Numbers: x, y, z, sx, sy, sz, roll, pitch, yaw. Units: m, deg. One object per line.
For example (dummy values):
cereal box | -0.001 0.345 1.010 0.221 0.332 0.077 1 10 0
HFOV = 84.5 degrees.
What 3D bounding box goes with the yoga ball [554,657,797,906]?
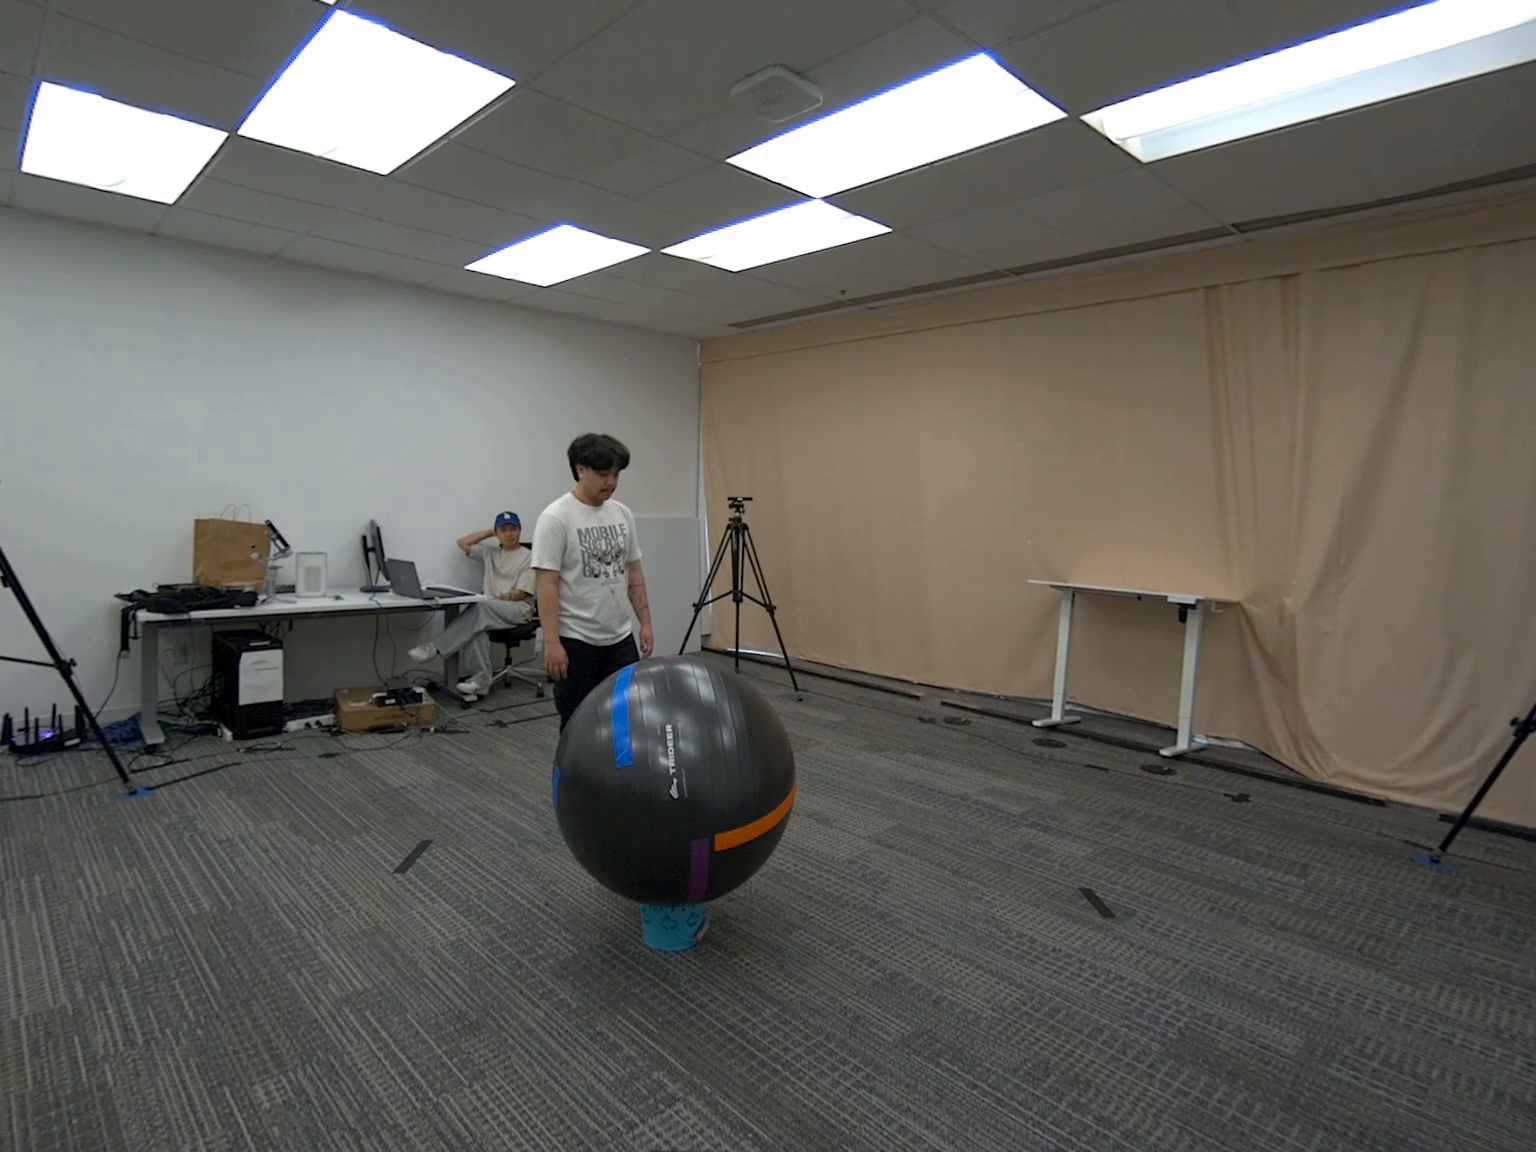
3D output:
yoga ball | -0.298 0.635 2.649 0.757 0.756 0.760 1 4 -1
